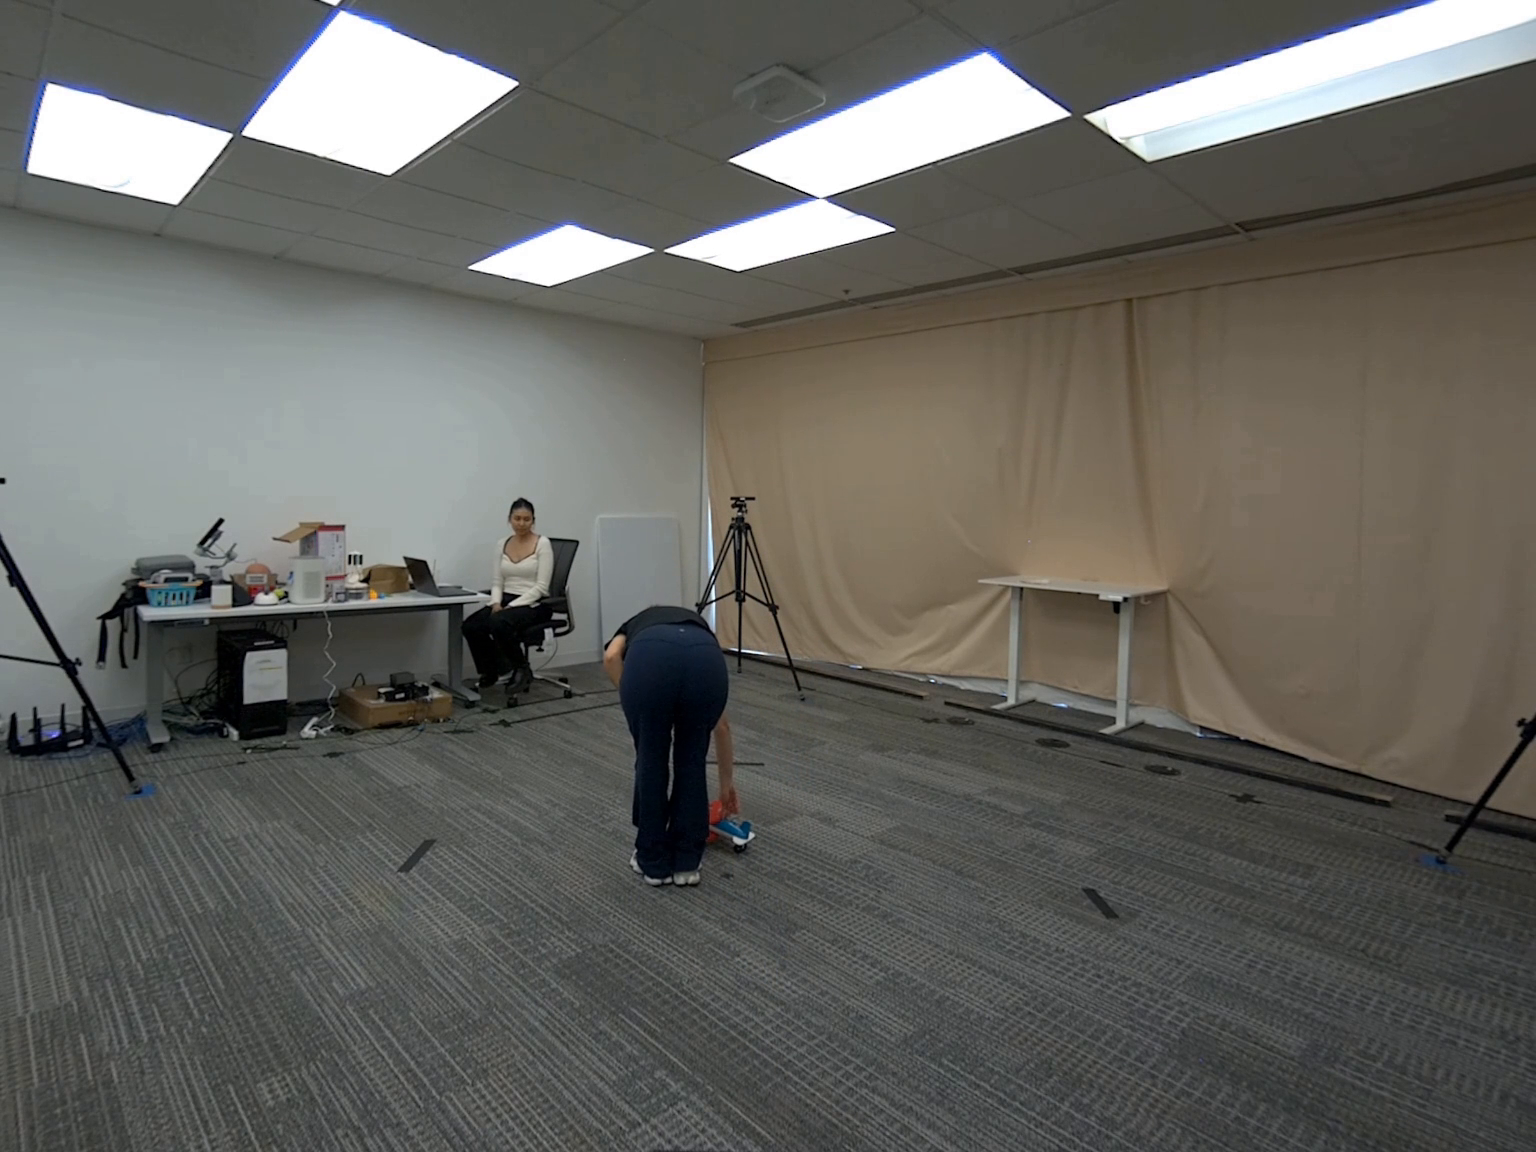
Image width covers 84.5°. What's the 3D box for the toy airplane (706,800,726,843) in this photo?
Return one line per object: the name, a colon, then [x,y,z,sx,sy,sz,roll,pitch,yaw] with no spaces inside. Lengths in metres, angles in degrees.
toy airplane: [-0.185,1.015,3.368,0.260,0.156,0.251,0,4,2]
